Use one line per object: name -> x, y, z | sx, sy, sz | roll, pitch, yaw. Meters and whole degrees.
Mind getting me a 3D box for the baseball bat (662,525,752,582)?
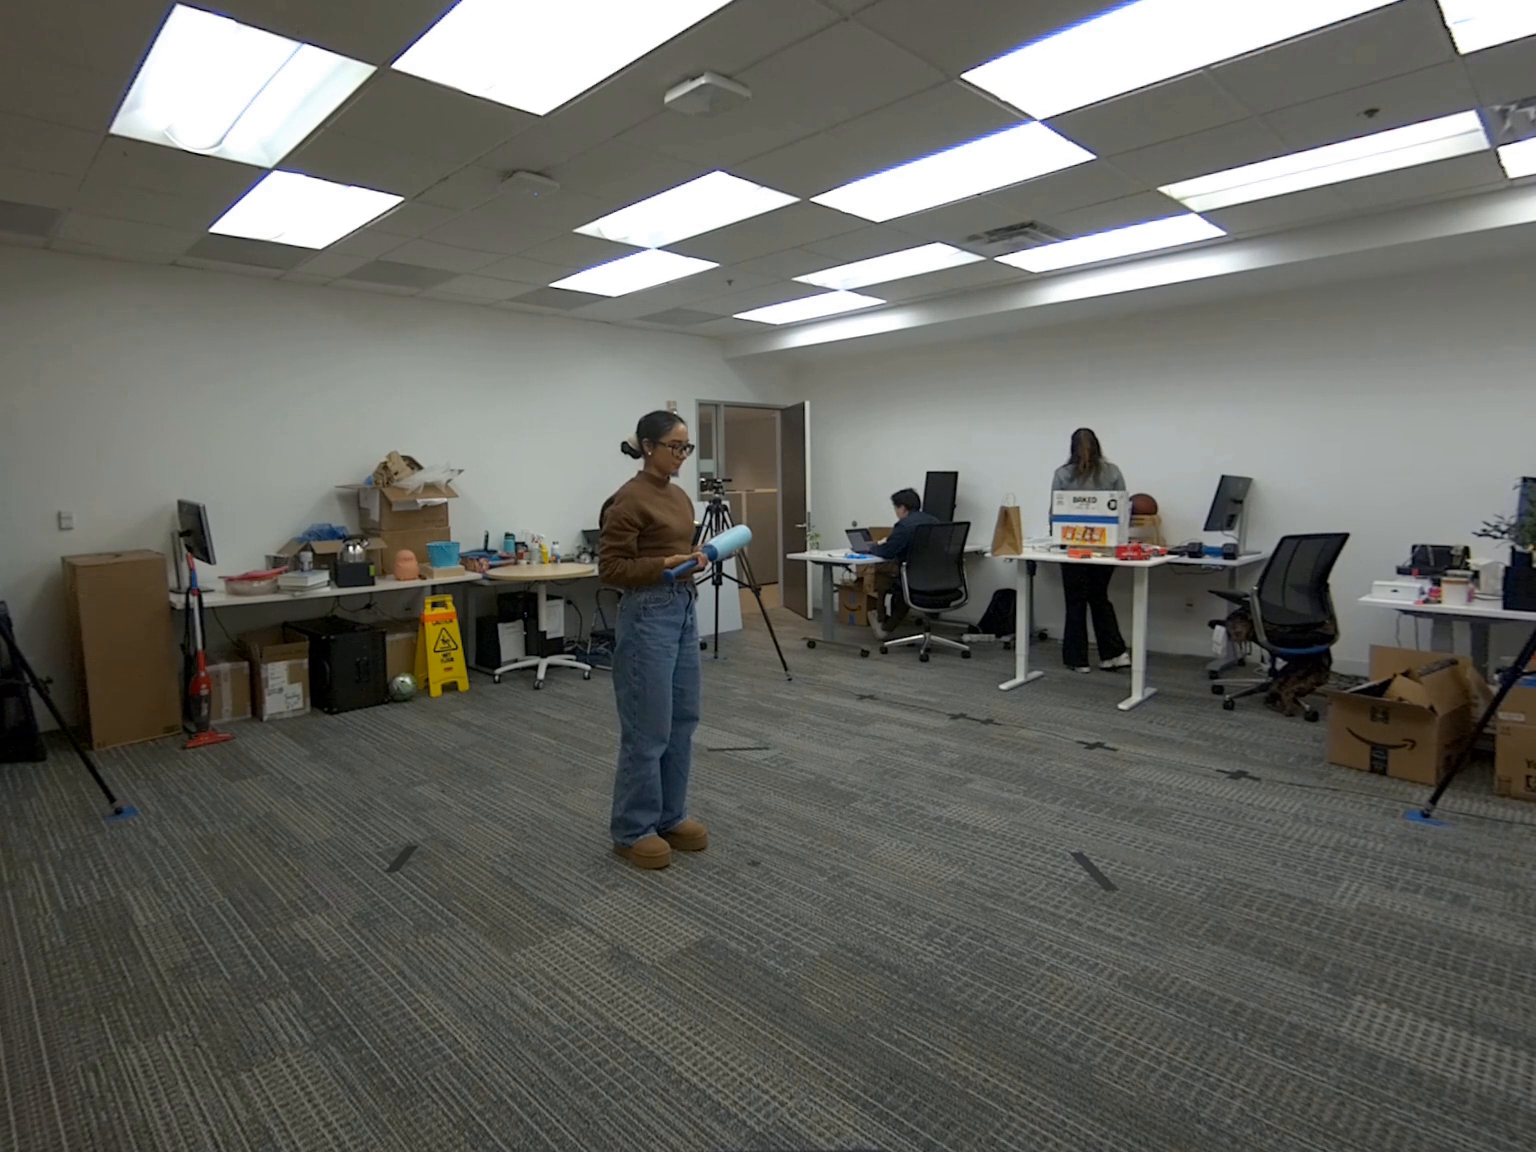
baseball bat -> -0.221, -0.079, 3.111 | 0.091, 0.087, 0.538 | 1, 19, 28
